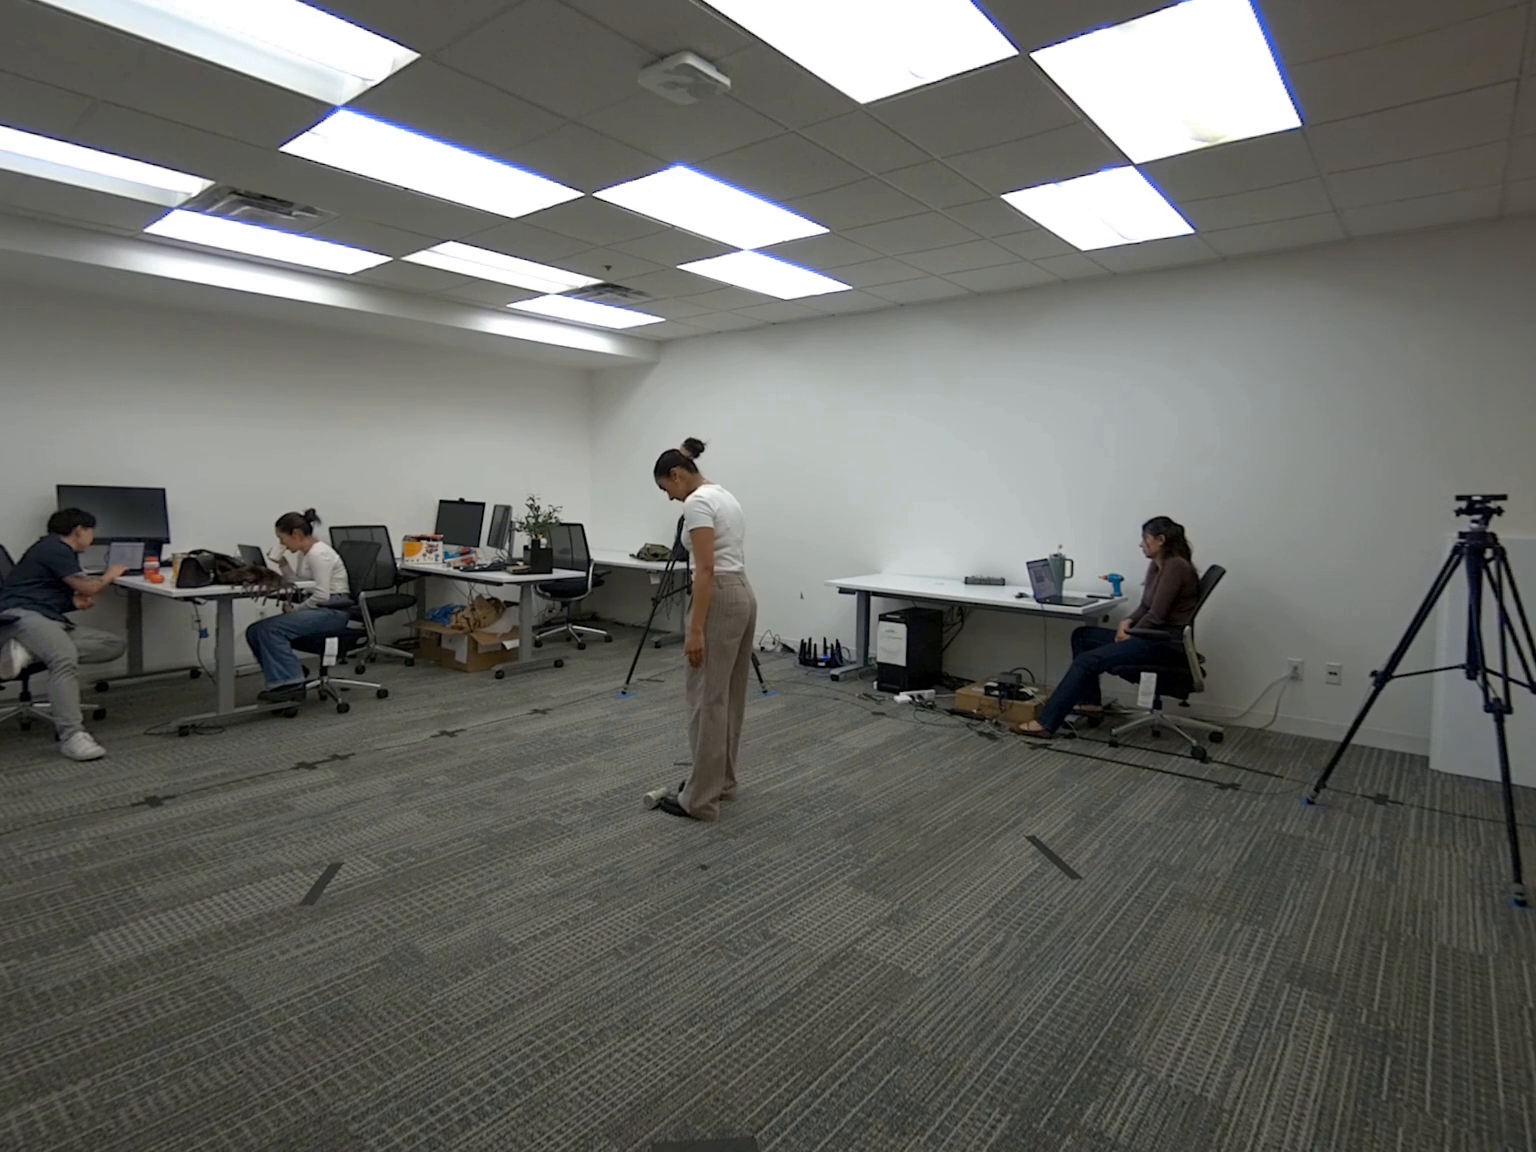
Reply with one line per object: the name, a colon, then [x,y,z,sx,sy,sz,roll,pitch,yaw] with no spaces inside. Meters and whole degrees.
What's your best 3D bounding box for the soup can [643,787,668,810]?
soup can: [-0.496,0.965,3.729,0.069,0.067,0.118,4,8,37]
